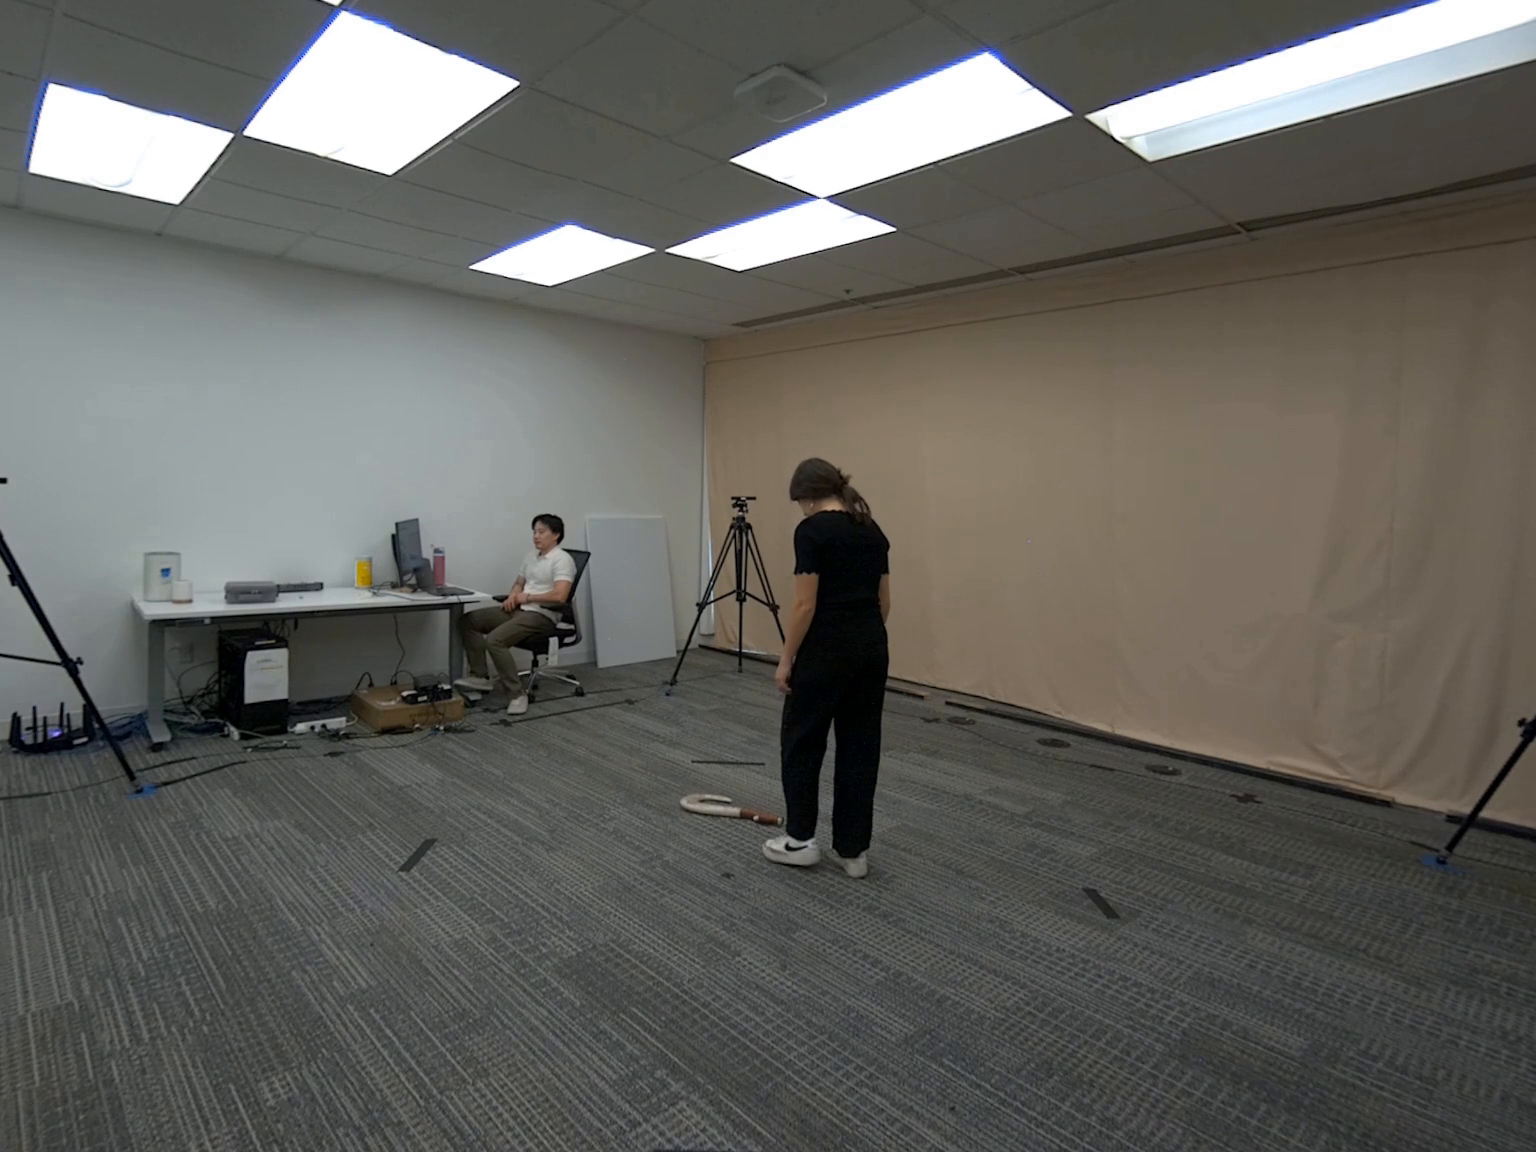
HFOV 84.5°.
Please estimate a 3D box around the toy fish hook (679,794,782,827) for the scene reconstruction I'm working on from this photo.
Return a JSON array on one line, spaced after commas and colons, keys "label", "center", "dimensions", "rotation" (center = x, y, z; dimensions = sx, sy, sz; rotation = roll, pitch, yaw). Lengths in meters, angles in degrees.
[{"label": "toy fish hook", "center": [-0.153, 1.025, 3.738], "dimensions": [0.517, 0.048, 0.221], "rotation": [4, 7, 25]}]
